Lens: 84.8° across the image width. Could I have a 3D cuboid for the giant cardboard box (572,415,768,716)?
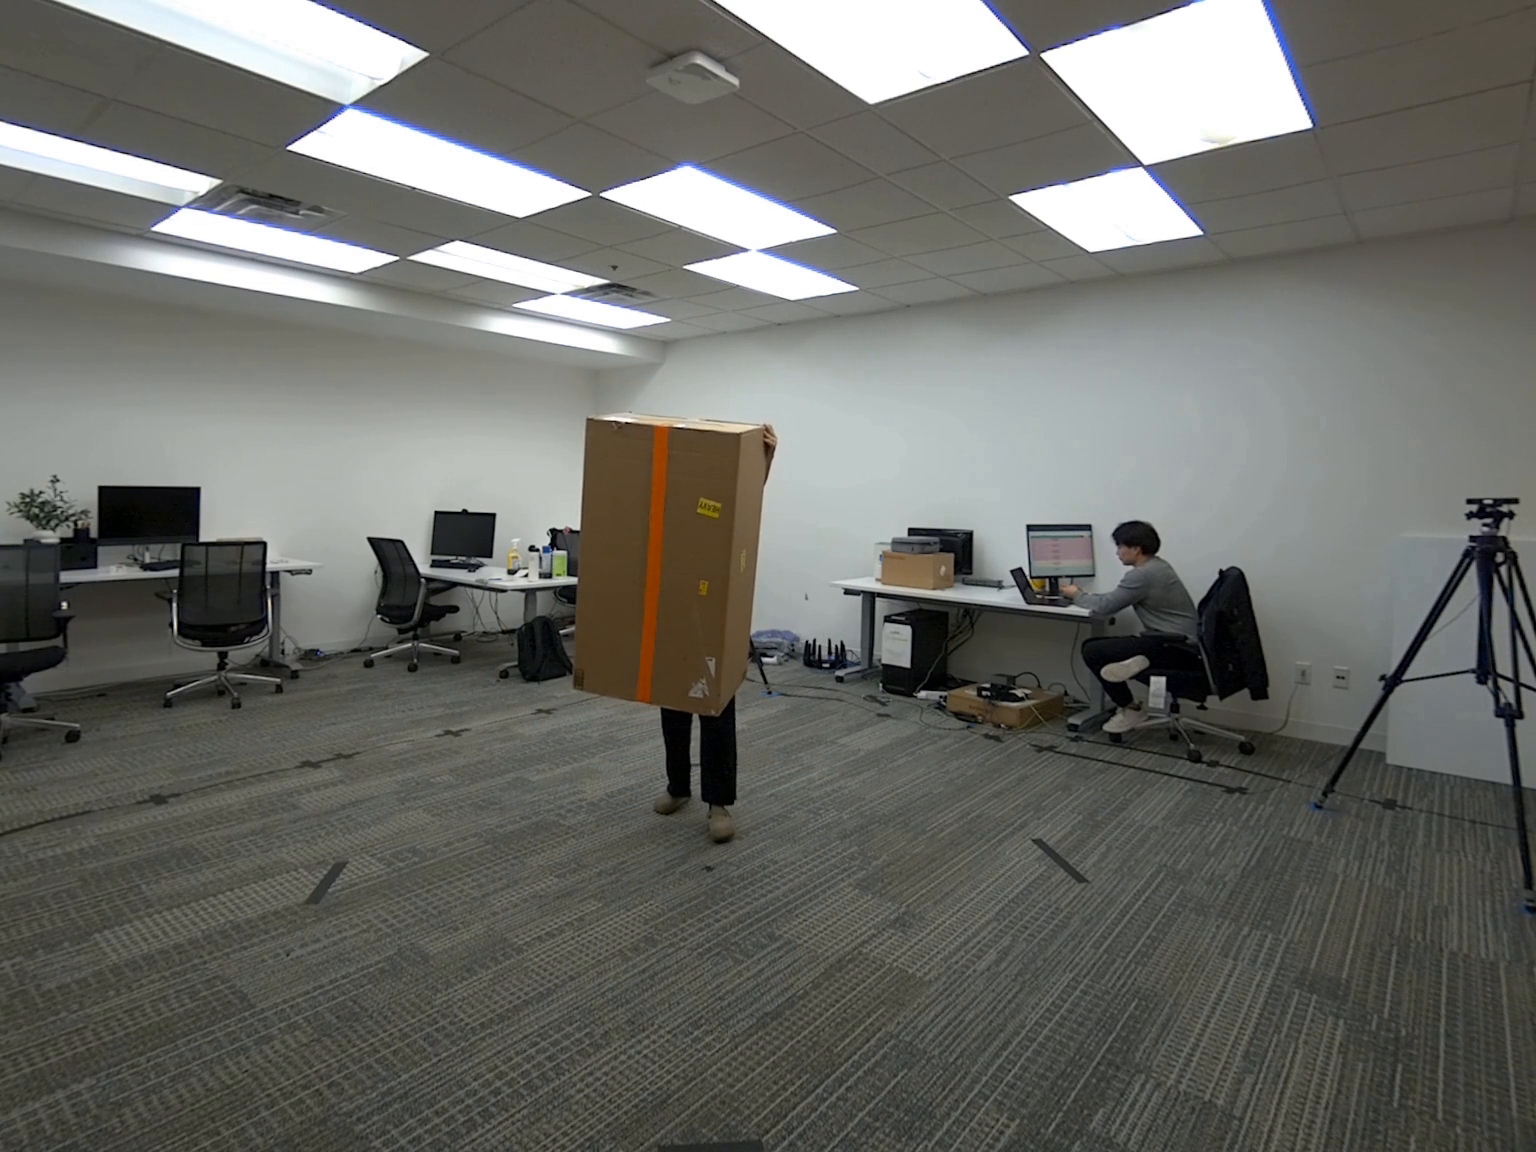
[{"bbox_3d":[-0.373,-0.071,3.209,0.587,1.016,0.423,8,12,14],"label":"giant cardboard box"}]
